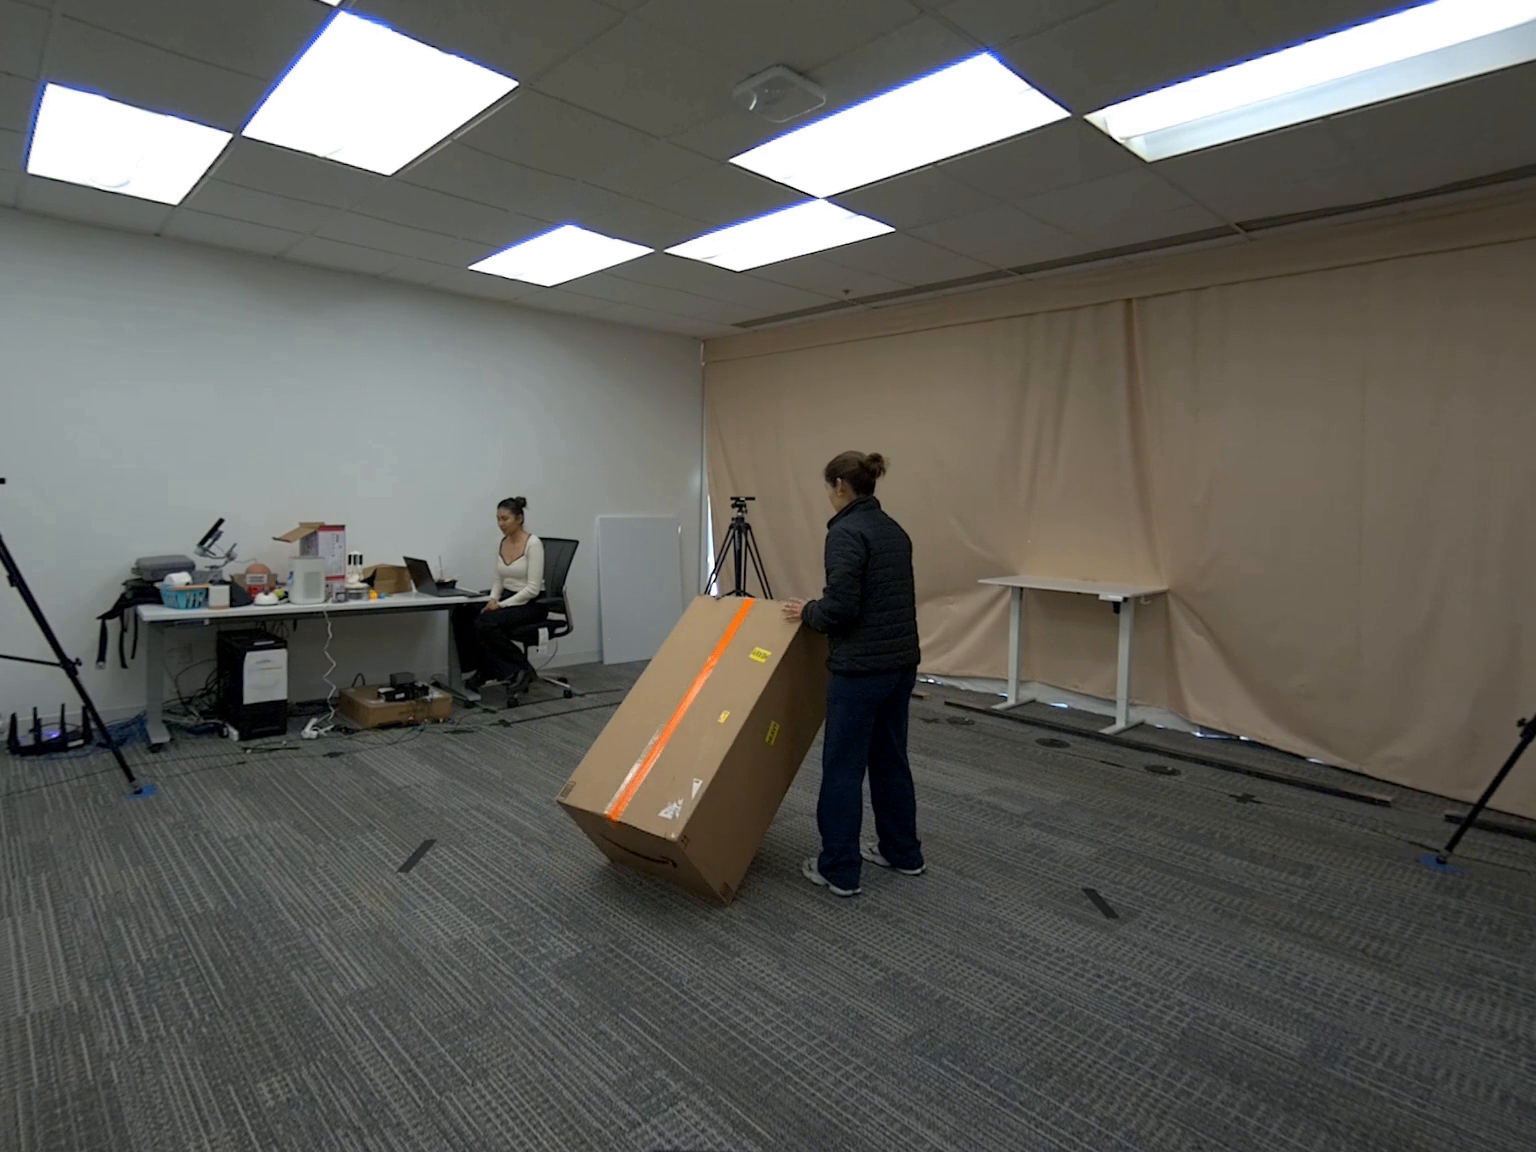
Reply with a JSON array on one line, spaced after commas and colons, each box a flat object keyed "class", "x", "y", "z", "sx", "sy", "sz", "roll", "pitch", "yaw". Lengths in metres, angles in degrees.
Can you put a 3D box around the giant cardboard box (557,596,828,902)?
[{"class": "giant cardboard box", "x": -0.223, "y": 0.600, "z": 3.185, "sx": 0.591, "sy": 0.414, "sz": 1.031, "roll": 4, "pitch": 47, "yaw": 36}]
